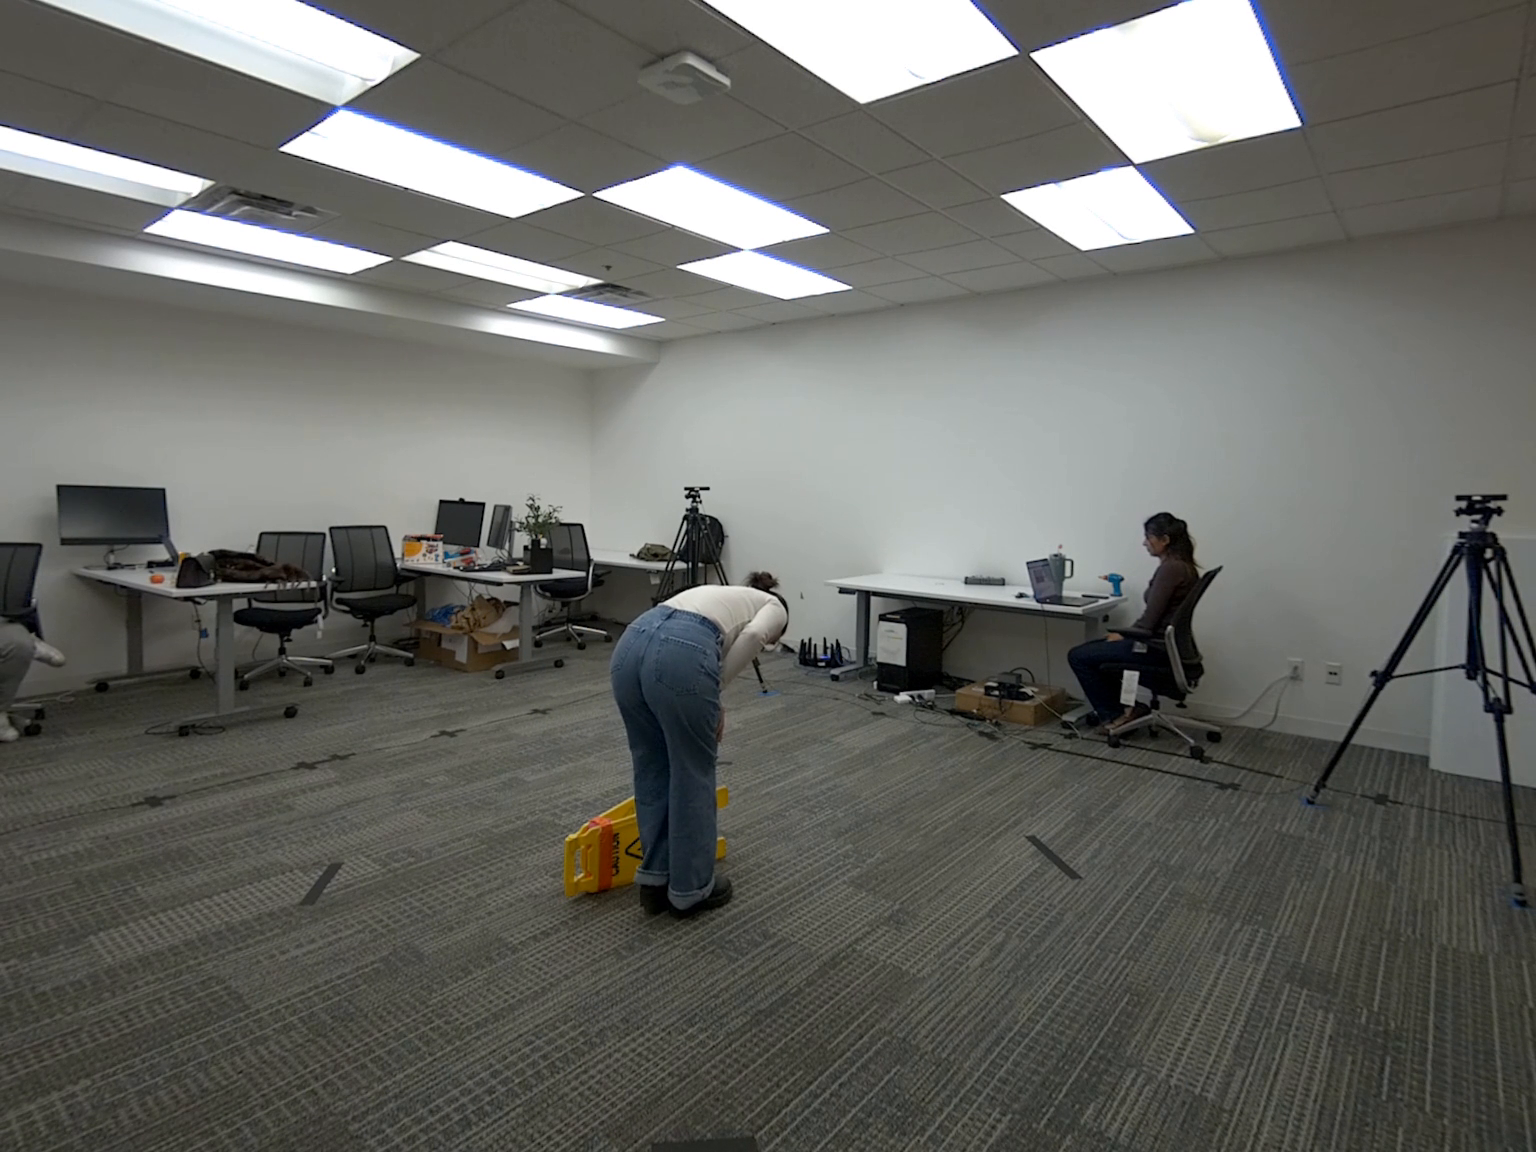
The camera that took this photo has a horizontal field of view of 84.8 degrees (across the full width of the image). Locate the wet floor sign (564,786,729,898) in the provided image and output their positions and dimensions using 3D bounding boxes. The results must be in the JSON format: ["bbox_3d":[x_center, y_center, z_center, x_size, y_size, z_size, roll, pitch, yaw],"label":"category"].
[{"bbox_3d":[-0.468,0.938,3.048,0.300,0.281,0.628,5,9,42],"label":"wet floor sign"}]
